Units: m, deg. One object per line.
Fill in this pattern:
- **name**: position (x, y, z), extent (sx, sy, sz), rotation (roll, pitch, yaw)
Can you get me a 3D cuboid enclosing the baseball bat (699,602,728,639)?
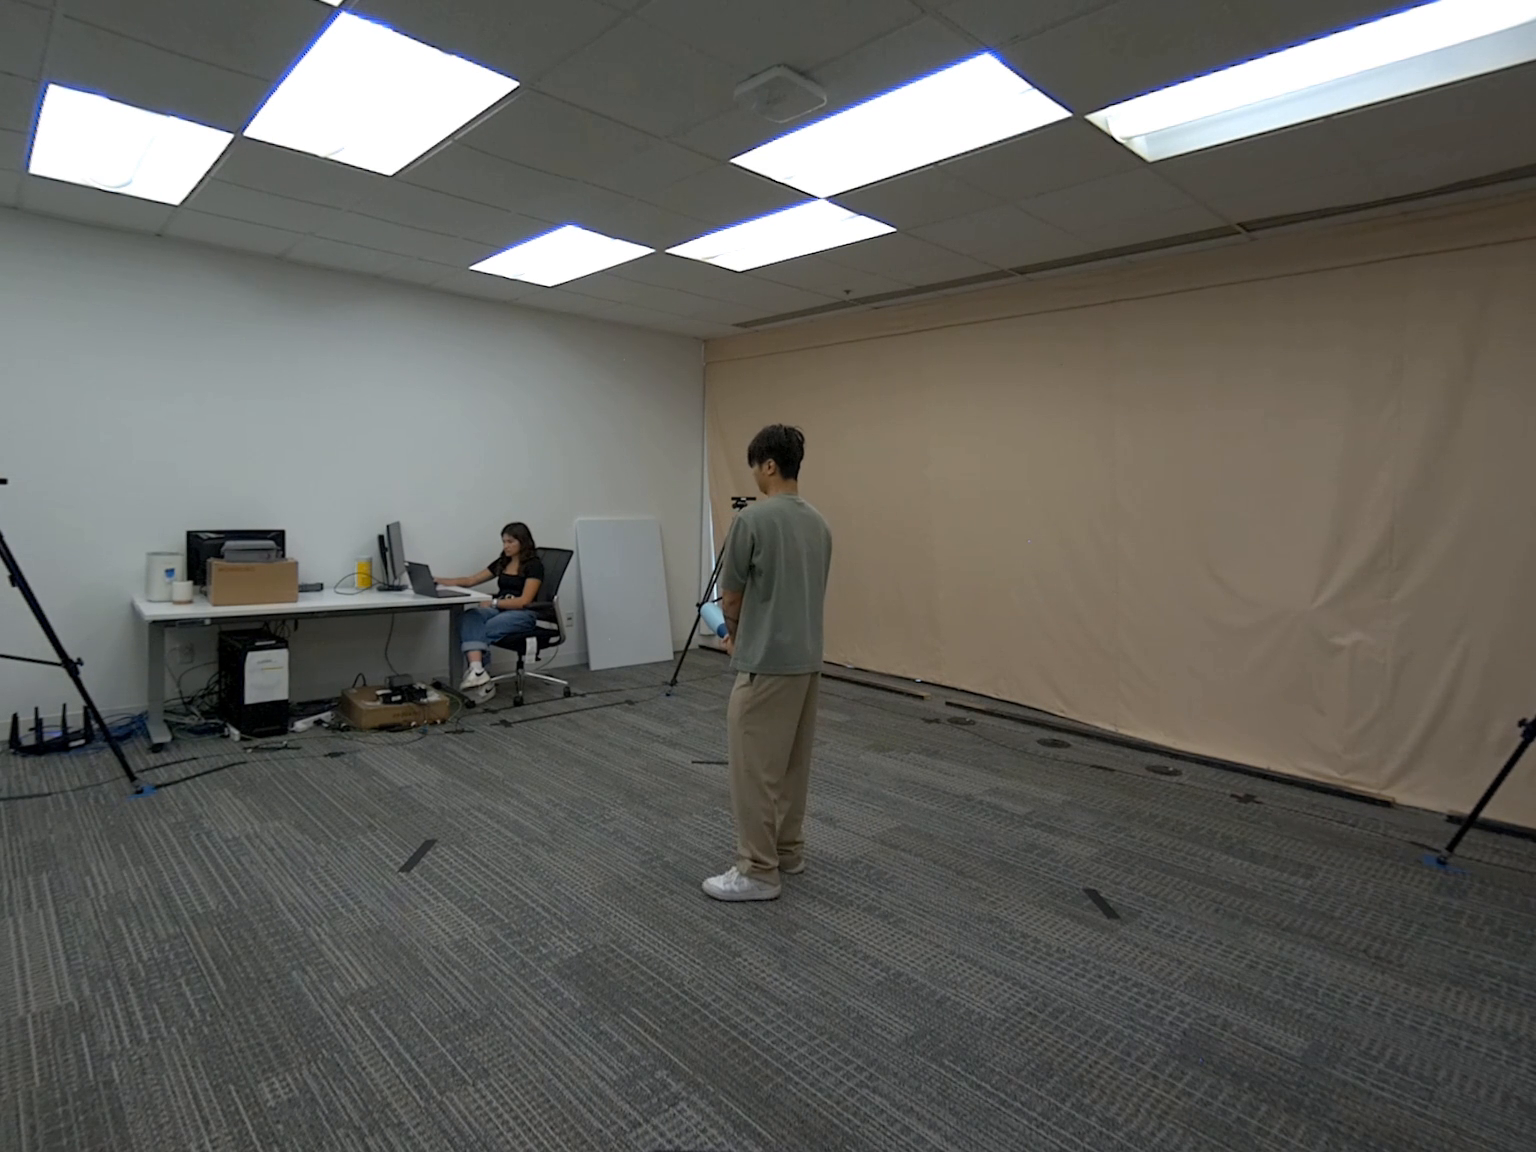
- **baseball bat**: position (-0.187, 0.230, 3.435), extent (0.088, 0.088, 0.556), rotation (0, 18, -19)
